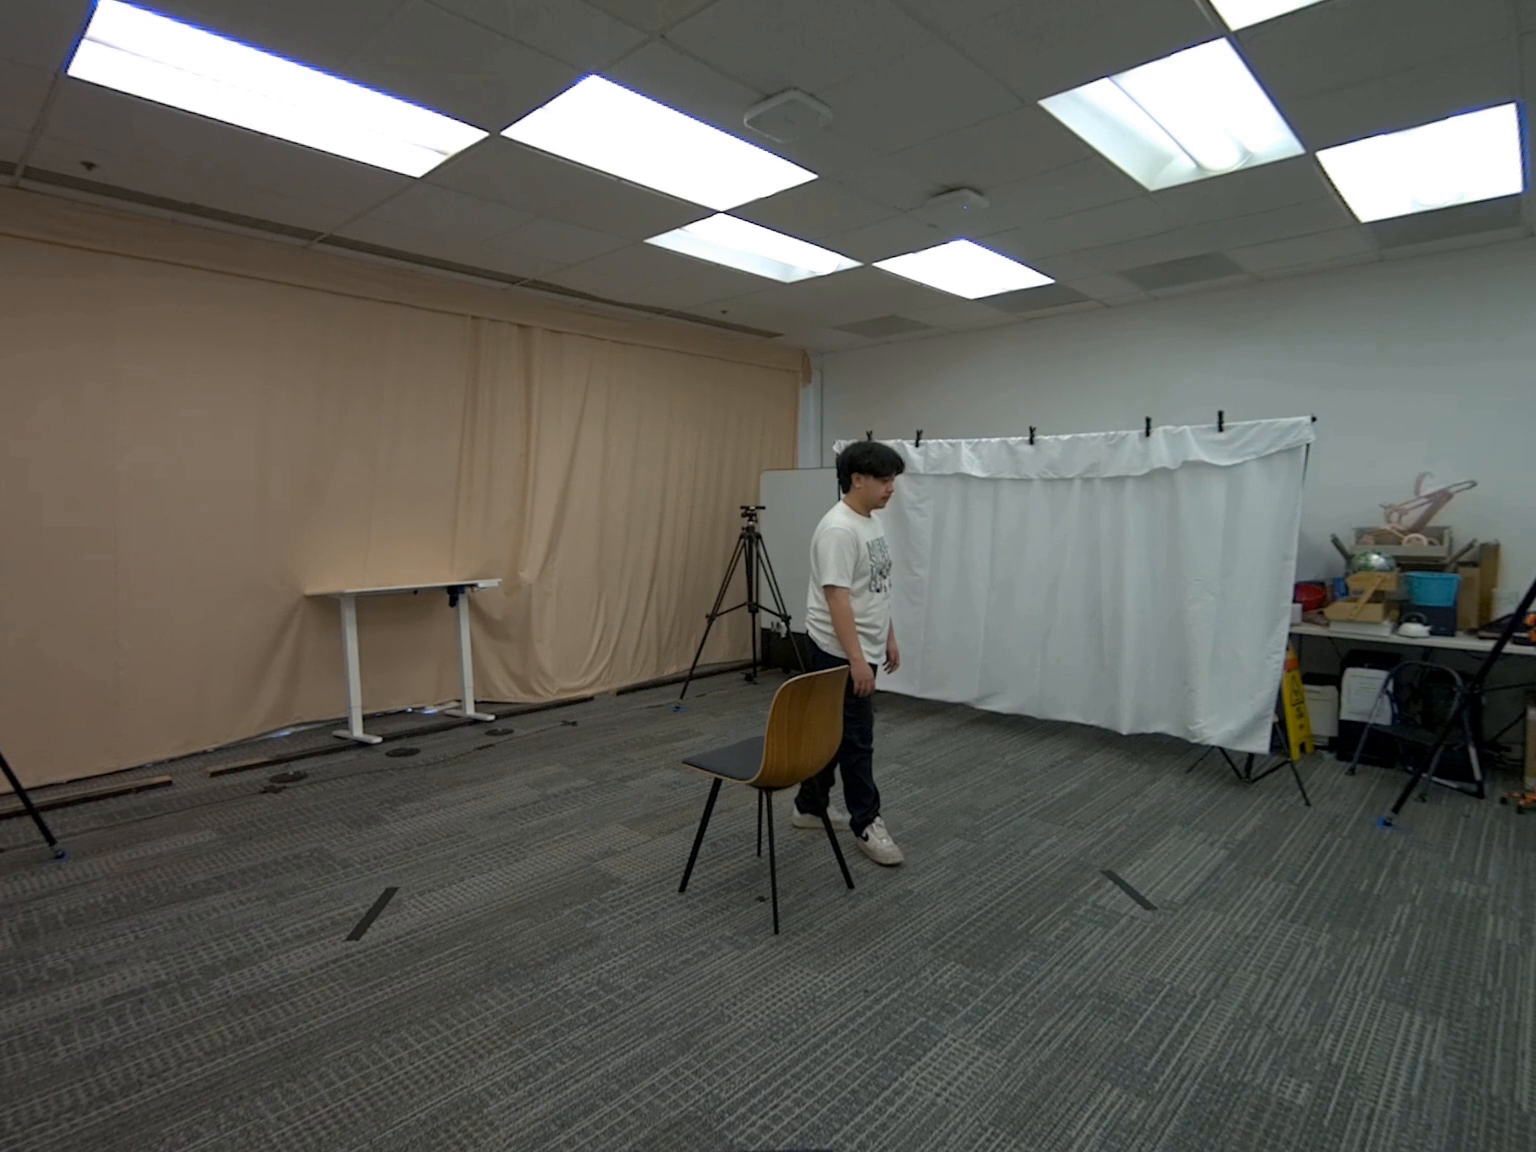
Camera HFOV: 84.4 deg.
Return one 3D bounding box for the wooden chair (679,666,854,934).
[{"bbox_3d":[-0.014,0.712,3.023,0.541,0.874,0.463,8,8,40],"label":"wooden chair"}]
